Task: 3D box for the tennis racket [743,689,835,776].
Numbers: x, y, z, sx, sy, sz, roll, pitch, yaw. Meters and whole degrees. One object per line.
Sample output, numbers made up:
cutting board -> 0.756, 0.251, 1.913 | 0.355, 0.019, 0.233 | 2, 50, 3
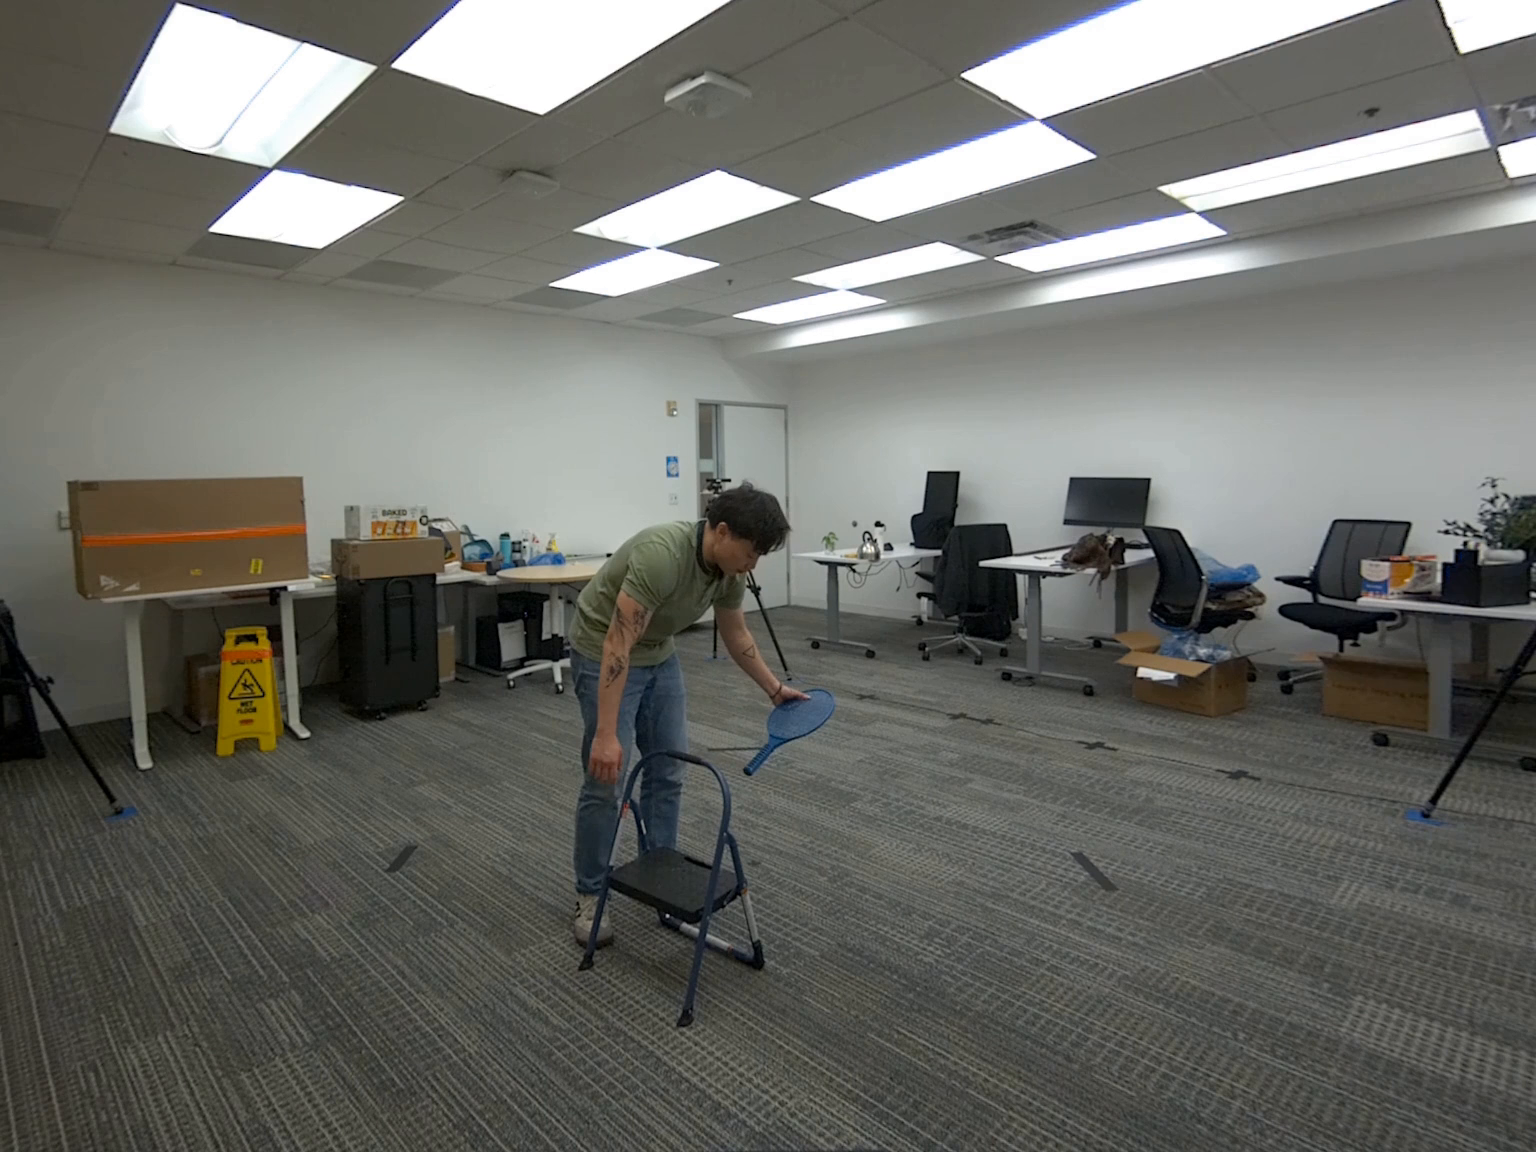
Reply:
tennis racket -> 0.048, 0.507, 2.769 | 0.220, 0.031, 0.430 | 0, 30, 43
